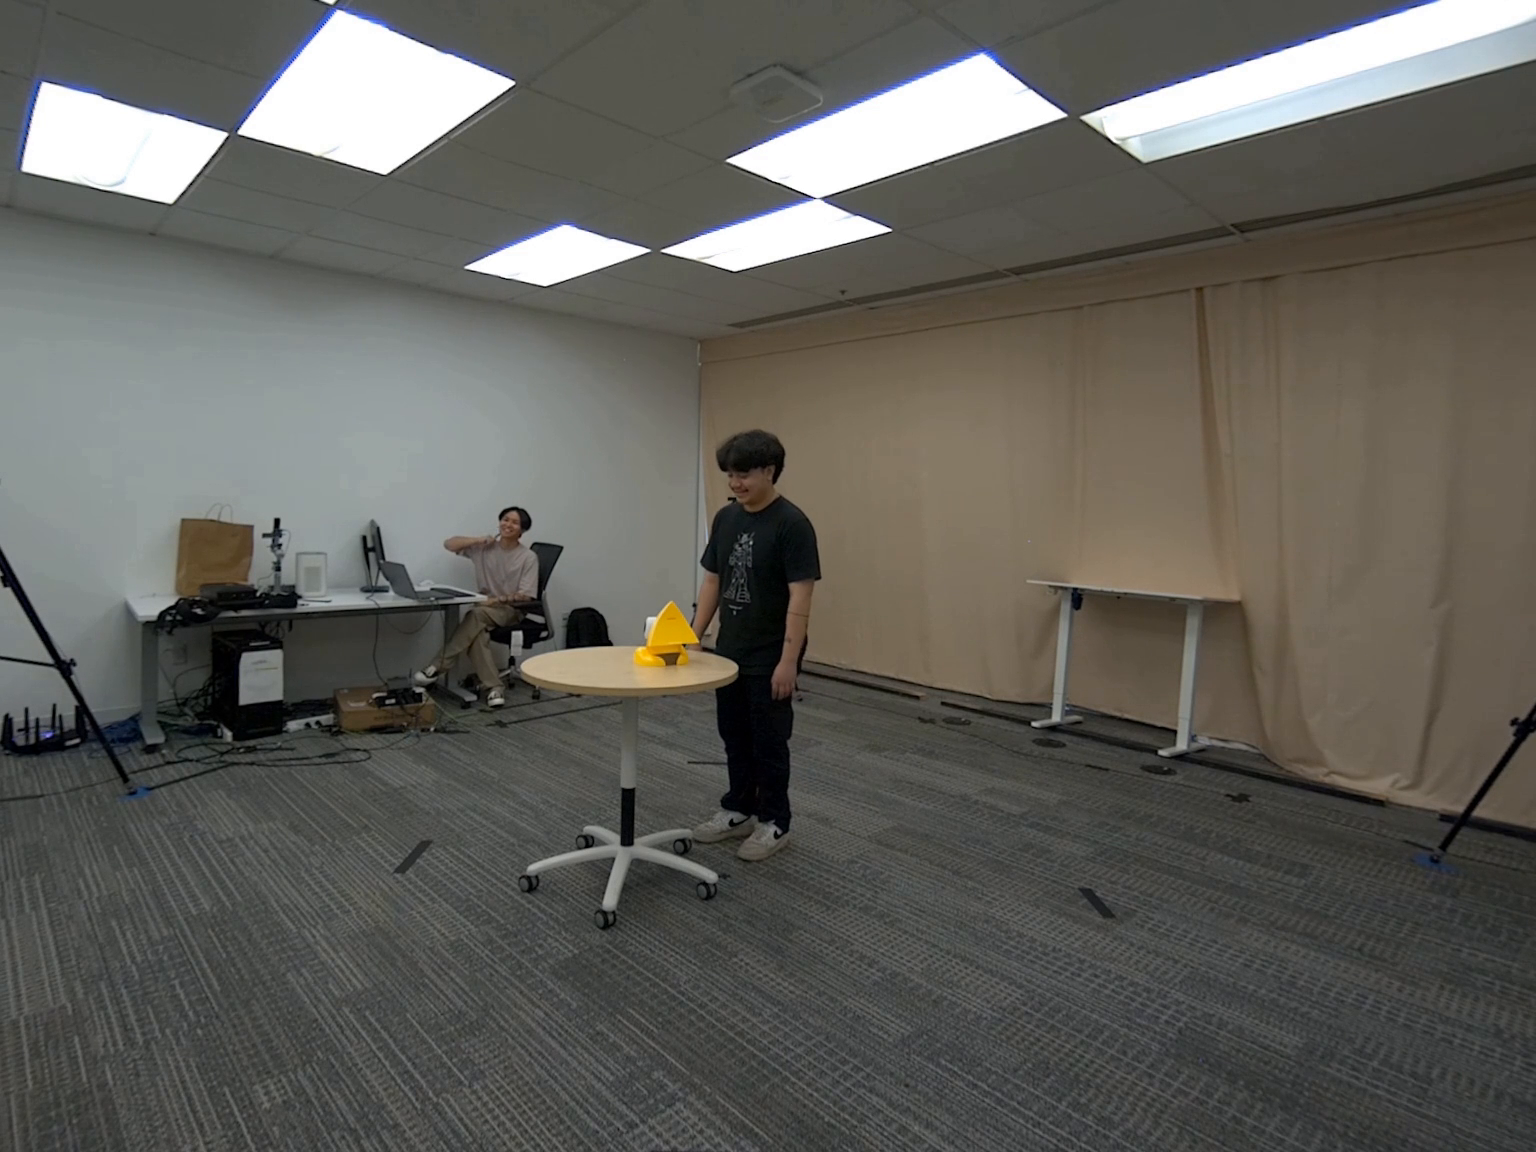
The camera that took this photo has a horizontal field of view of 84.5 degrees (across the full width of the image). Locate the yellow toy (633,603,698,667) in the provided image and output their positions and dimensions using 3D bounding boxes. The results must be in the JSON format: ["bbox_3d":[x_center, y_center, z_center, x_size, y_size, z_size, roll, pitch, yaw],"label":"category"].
[{"bbox_3d":[-0.390,0.201,3.060,0.200,0.230,0.198,-1,4,-35],"label":"yellow toy"}]
